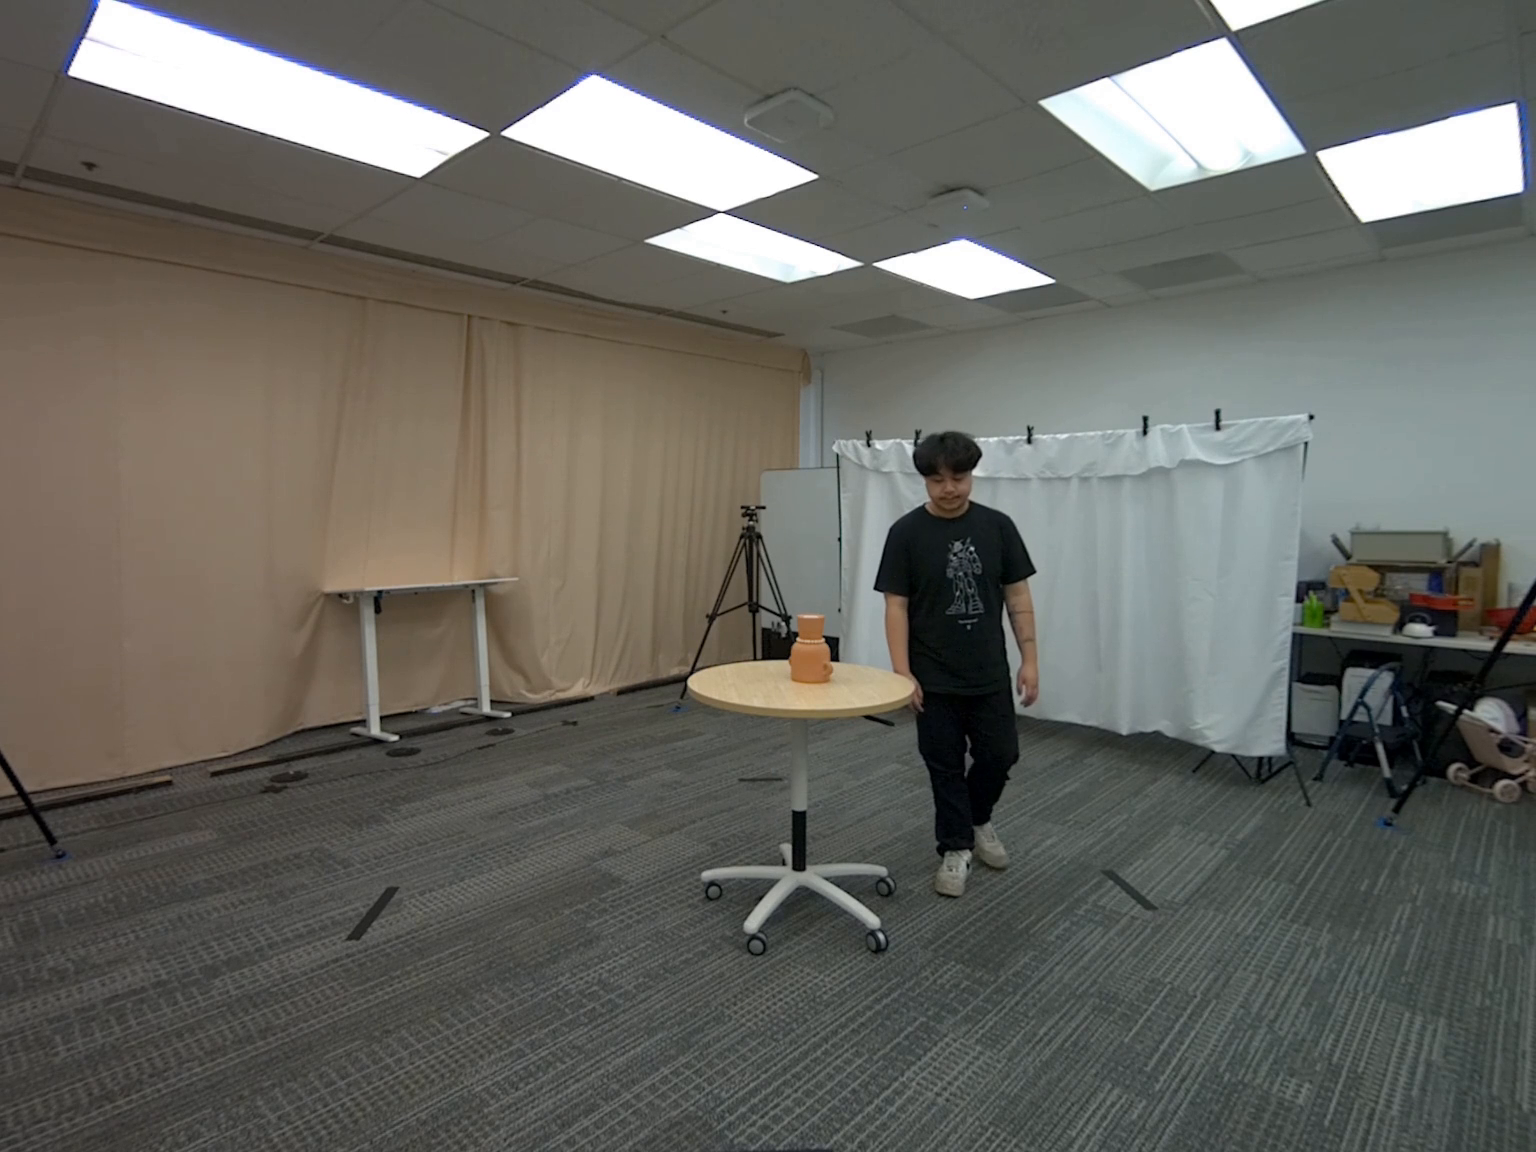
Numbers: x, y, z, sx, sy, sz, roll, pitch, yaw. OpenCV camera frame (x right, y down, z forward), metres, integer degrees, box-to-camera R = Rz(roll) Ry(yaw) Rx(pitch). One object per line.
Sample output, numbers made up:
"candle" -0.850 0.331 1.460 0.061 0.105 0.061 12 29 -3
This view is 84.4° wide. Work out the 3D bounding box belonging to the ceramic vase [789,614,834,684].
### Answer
"ceramic vase" 0.146 0.247 2.895 0.160 0.219 0.134 0 4 7
